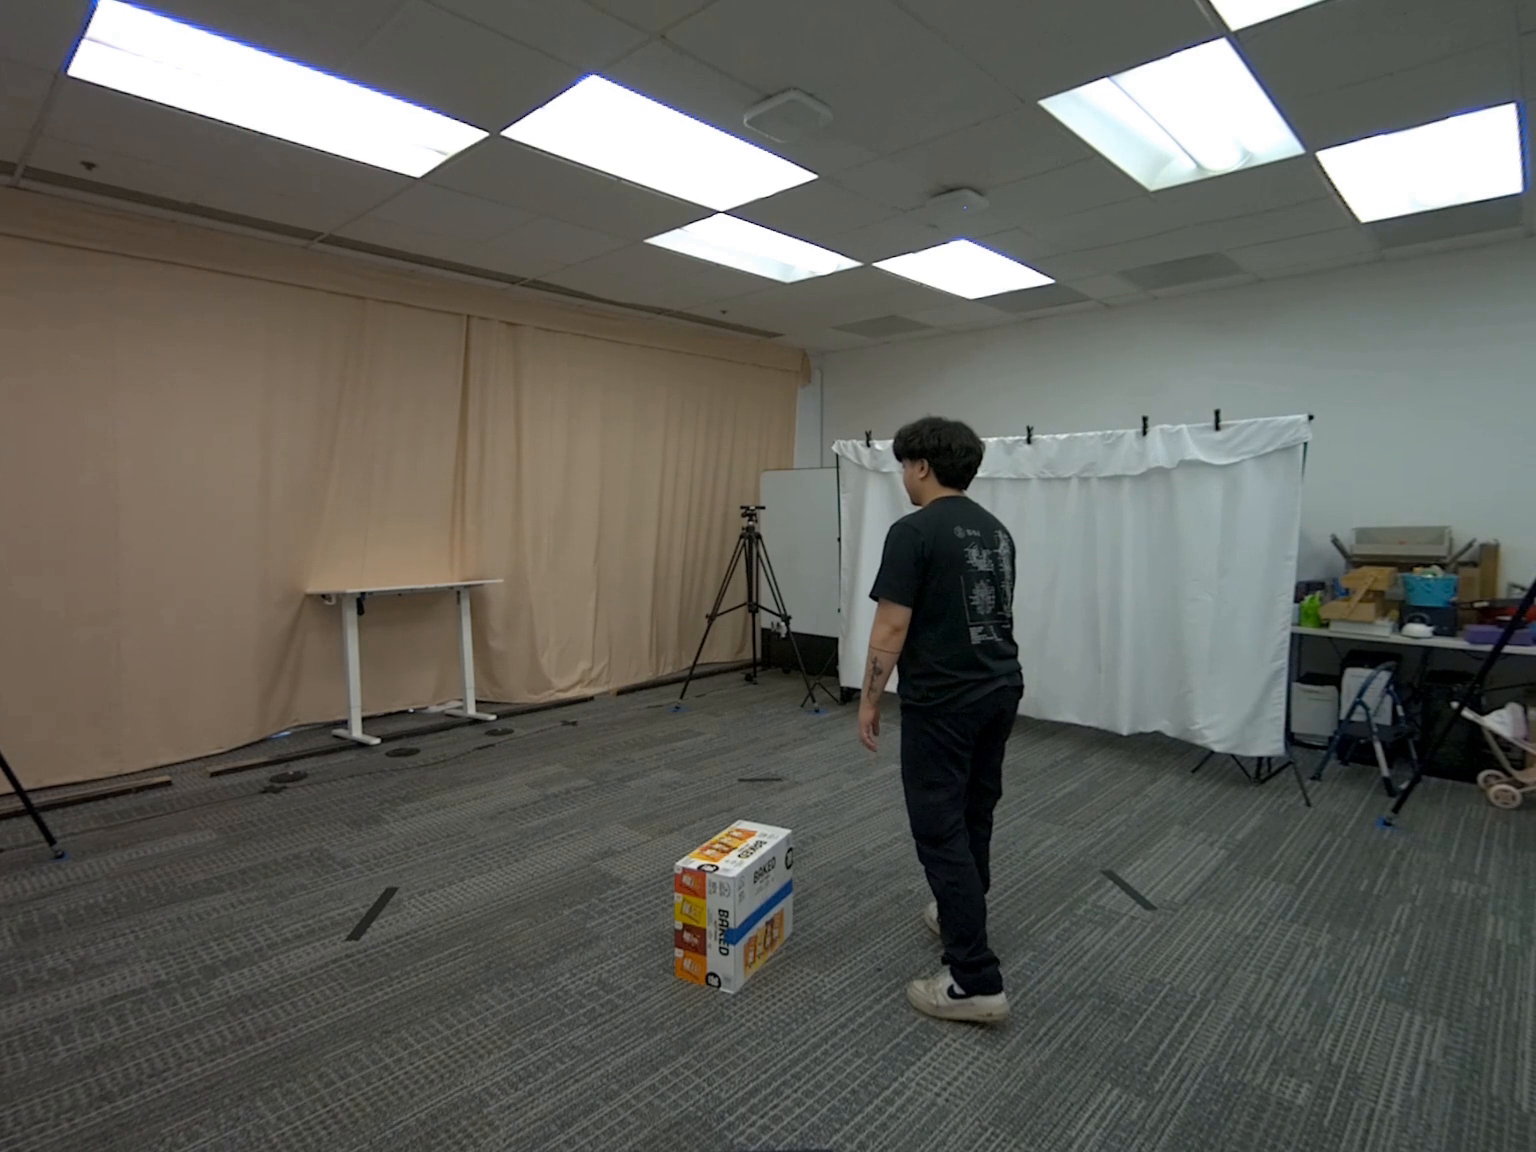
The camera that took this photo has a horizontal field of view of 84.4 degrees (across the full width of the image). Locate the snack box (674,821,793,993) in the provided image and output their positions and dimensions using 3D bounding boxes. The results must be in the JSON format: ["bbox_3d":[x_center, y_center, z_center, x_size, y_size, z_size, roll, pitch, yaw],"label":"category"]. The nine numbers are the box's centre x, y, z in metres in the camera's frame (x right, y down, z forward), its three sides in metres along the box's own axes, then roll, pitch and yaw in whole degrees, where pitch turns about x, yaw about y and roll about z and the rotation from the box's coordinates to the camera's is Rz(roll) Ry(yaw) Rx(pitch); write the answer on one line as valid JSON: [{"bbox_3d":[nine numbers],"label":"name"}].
[{"bbox_3d":[-0.095,1.005,2.614,0.211,0.340,0.395,1,4,27],"label":"snack box"}]
